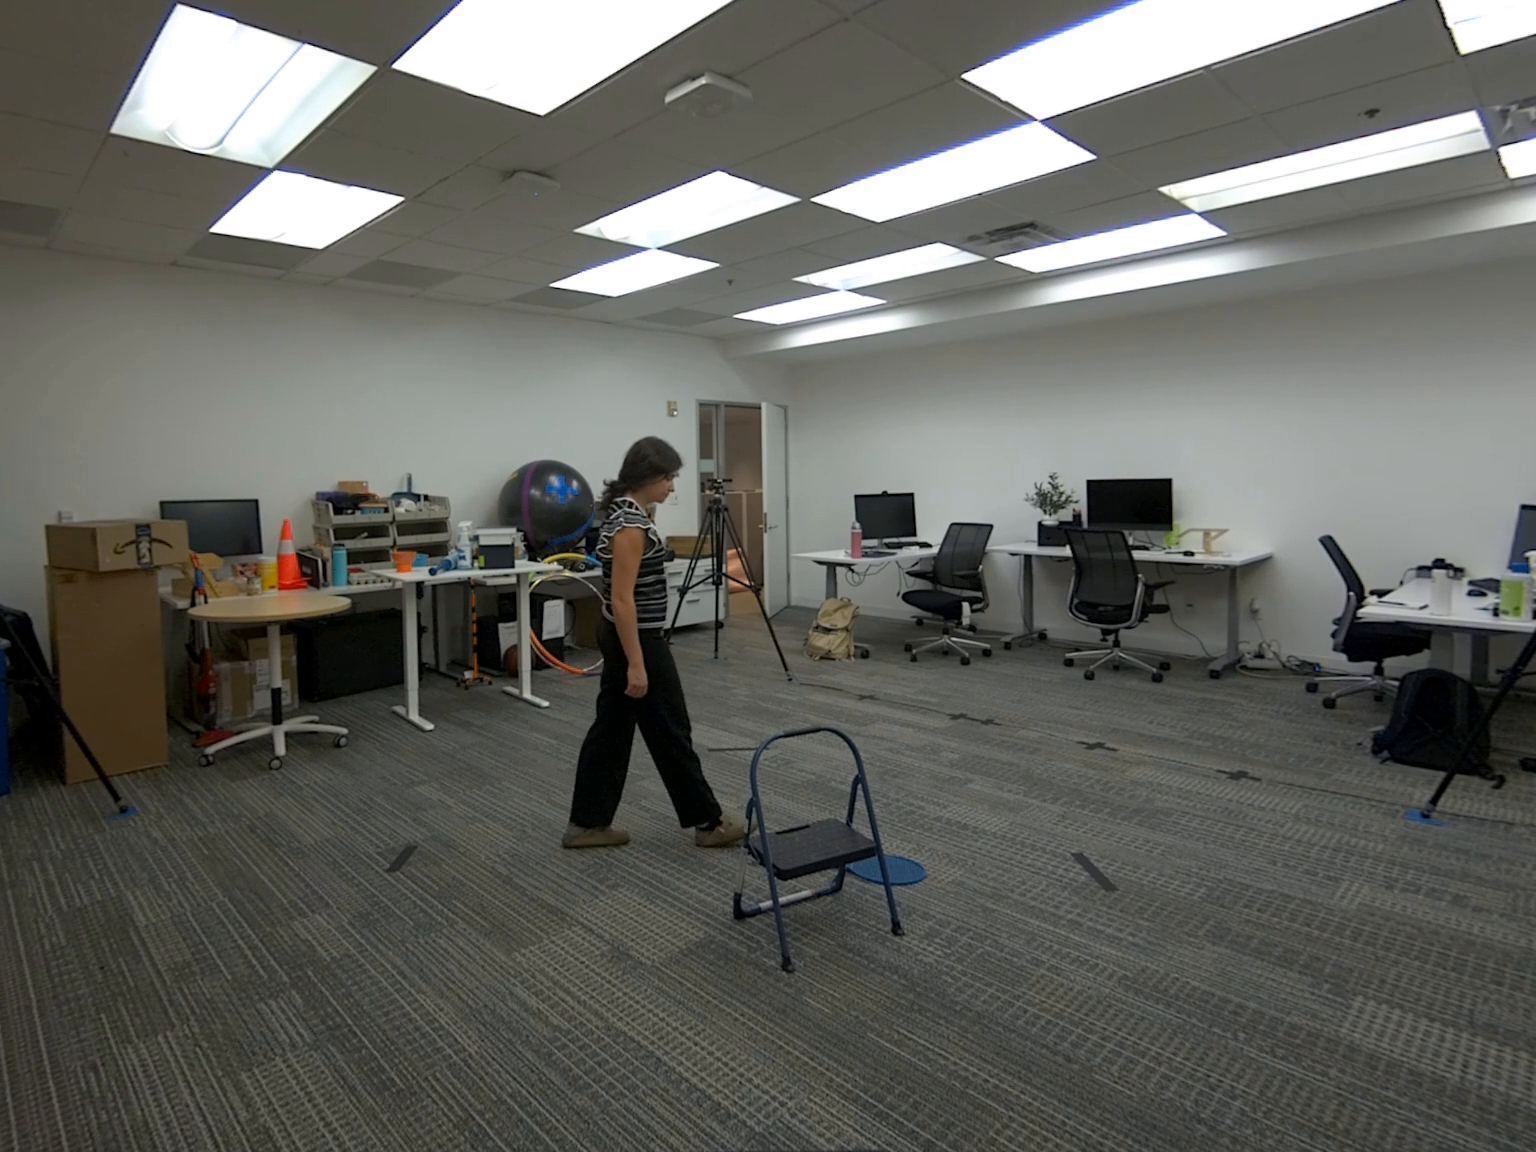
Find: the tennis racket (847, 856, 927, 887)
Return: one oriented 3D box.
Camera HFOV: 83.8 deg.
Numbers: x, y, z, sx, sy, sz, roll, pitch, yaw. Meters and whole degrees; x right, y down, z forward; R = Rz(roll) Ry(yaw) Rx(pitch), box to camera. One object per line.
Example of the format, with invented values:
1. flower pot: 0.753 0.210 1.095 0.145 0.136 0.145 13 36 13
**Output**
1. tennis racket: 0.339 1.027 3.041 0.440 0.031 0.211 3 7 16
